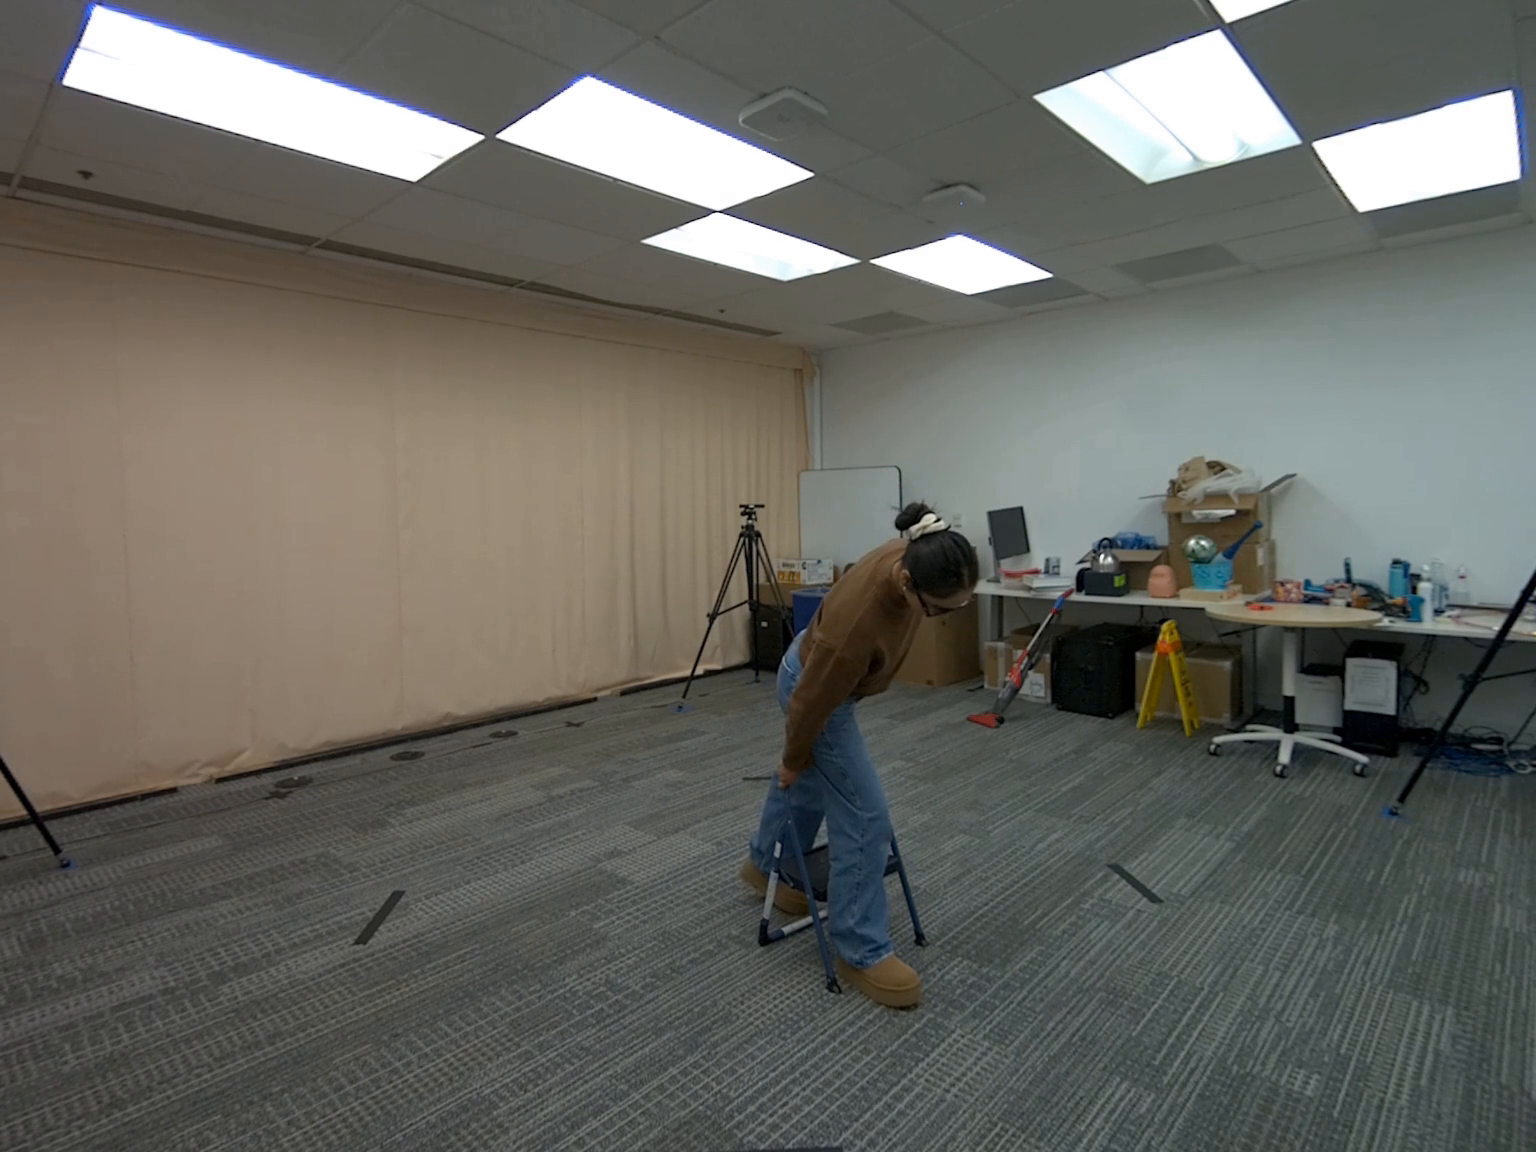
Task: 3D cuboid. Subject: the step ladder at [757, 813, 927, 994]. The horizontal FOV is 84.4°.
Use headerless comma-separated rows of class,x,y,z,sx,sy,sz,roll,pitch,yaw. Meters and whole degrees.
step ladder,0.232,0.856,2.643,0.418,0.605,0.360,-4,3,-40
